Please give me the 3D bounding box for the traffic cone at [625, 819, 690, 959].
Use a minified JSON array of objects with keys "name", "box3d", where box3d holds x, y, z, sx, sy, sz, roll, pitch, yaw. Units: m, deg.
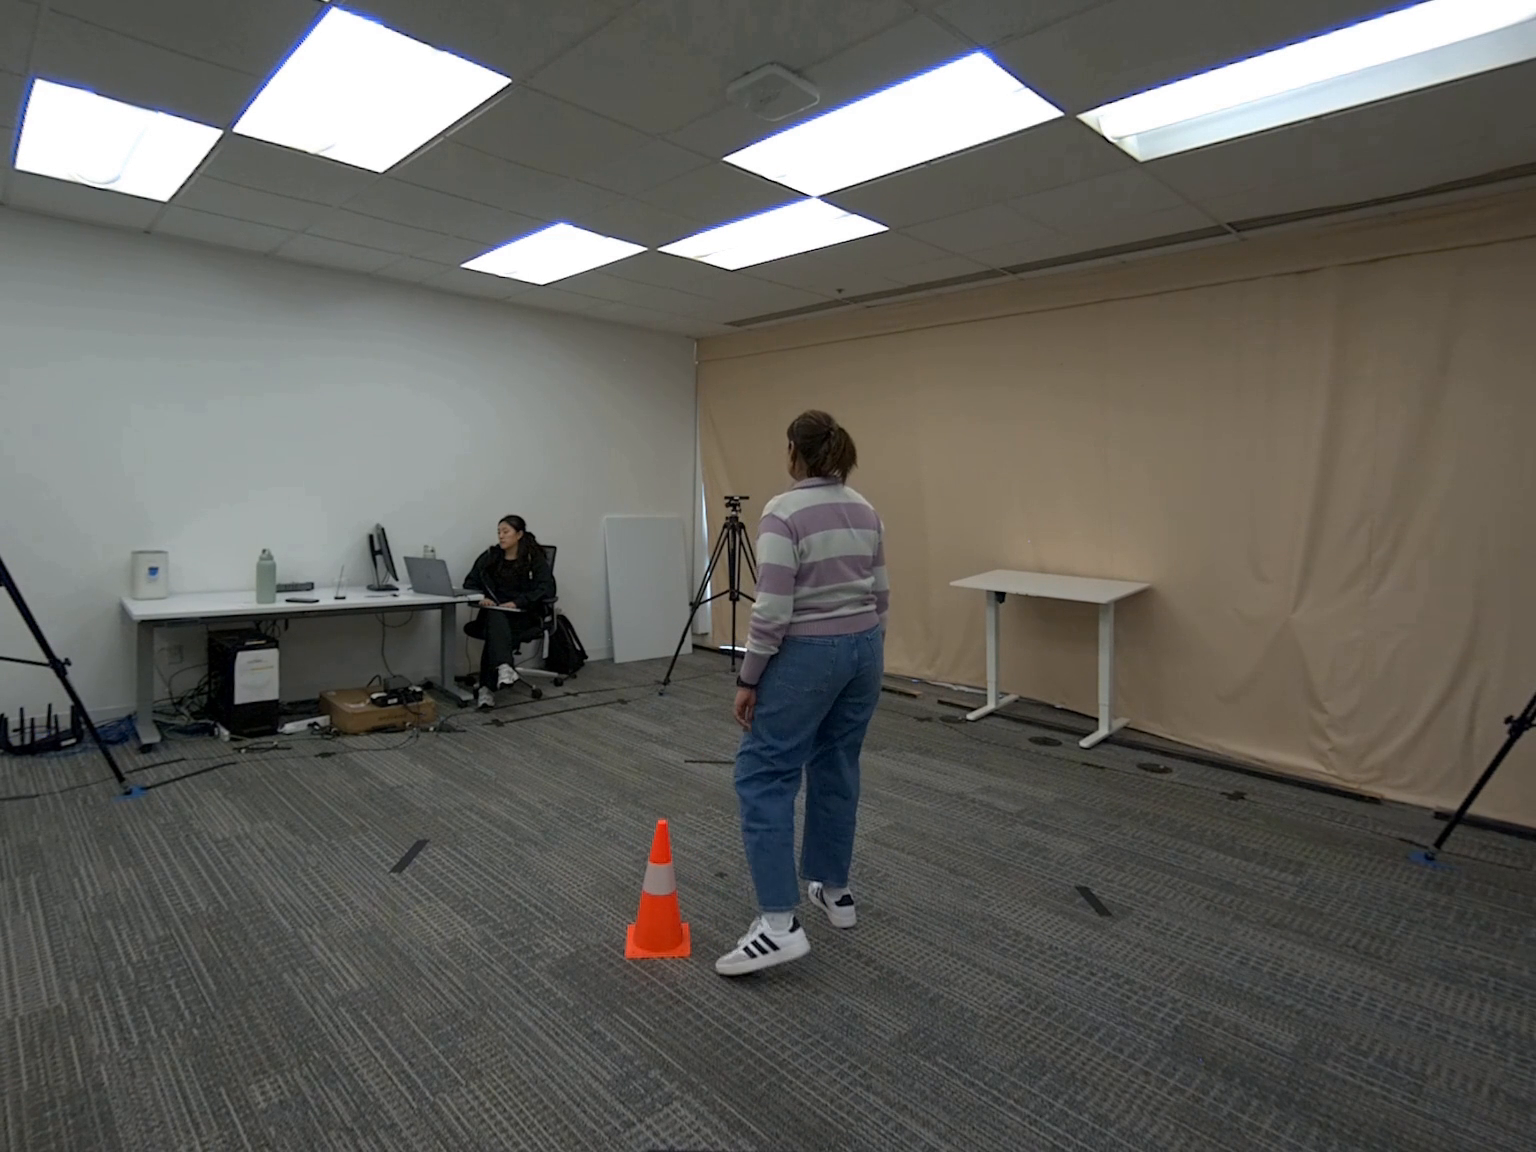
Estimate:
[{"name":"traffic cone","box3d":[-0.357,0.962,2.627,0.204,0.383,0.204,-1,1,-6]}]
